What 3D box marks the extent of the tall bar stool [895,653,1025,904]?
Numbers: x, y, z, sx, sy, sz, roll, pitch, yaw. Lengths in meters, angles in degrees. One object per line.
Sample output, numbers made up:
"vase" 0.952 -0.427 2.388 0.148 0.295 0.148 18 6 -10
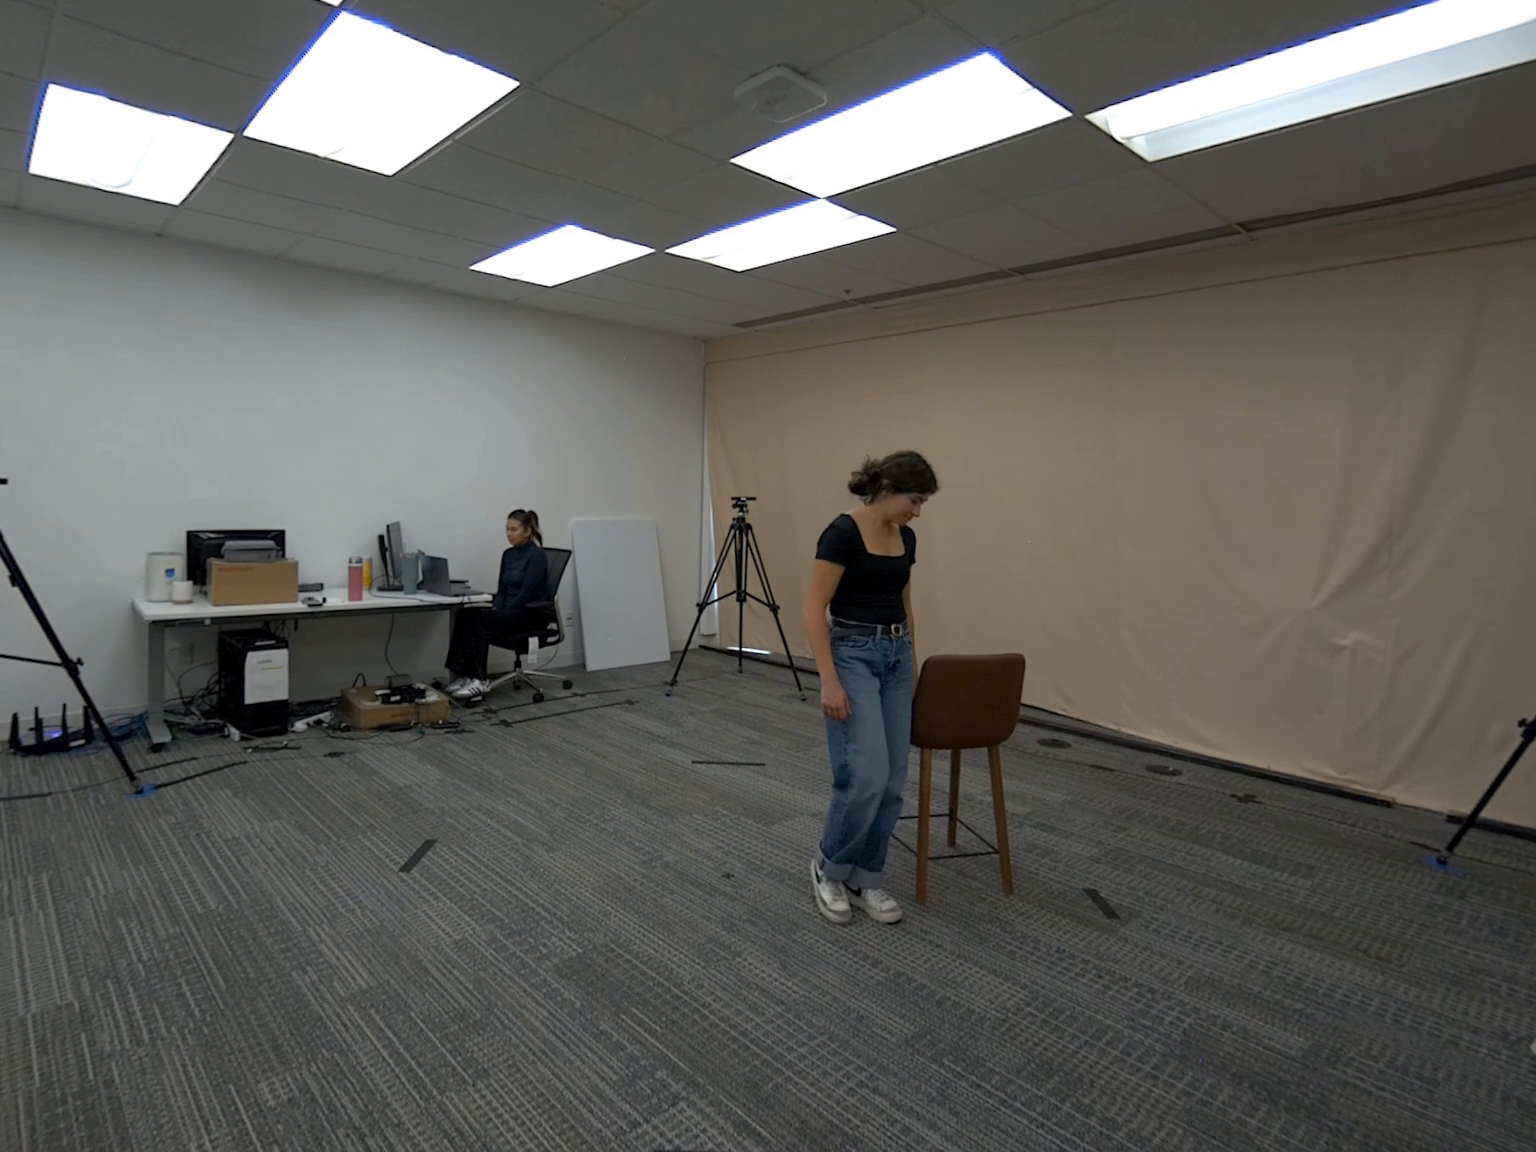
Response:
"tall bar stool" 0.645 0.686 3.158 0.450 0.887 0.475 1 5 -17
